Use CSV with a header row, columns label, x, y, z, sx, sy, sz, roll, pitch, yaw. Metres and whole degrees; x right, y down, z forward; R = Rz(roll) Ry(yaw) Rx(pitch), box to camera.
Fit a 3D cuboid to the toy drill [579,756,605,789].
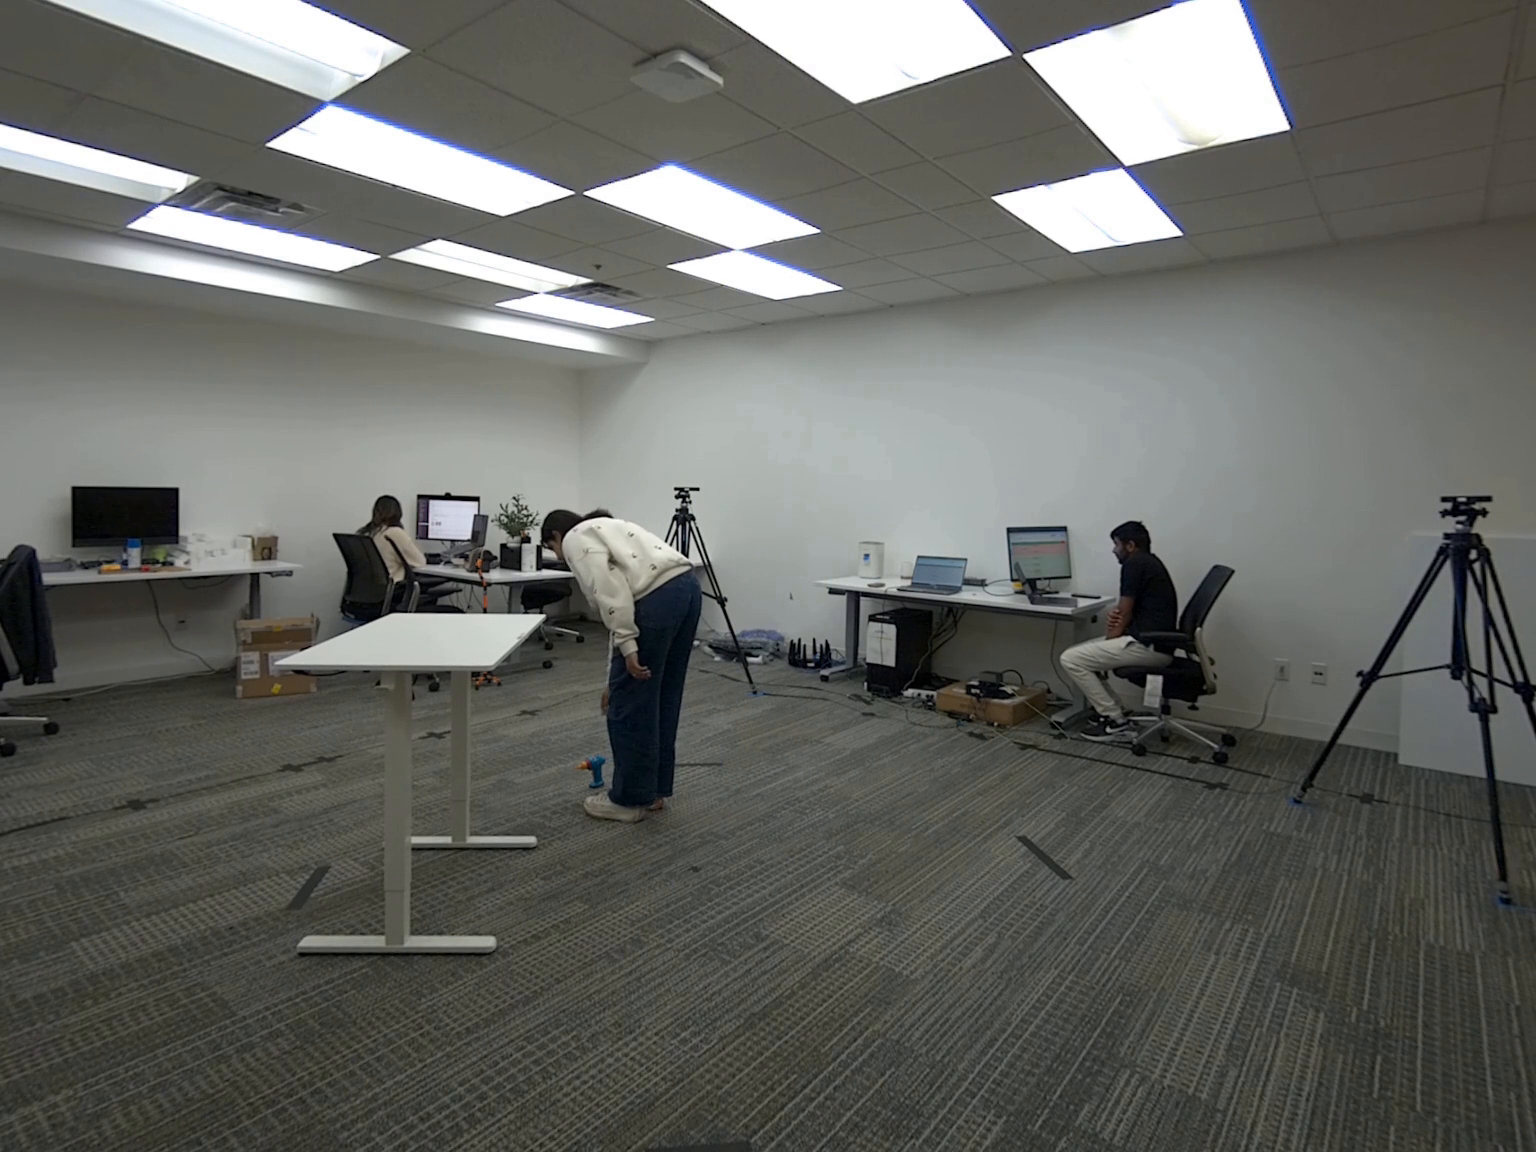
label,x,y,z,sx,sy,sz,roll,pitch,yaw
toy drill,-0.837,0.905,3.928,0.063,0.146,0.165,2,4,40
